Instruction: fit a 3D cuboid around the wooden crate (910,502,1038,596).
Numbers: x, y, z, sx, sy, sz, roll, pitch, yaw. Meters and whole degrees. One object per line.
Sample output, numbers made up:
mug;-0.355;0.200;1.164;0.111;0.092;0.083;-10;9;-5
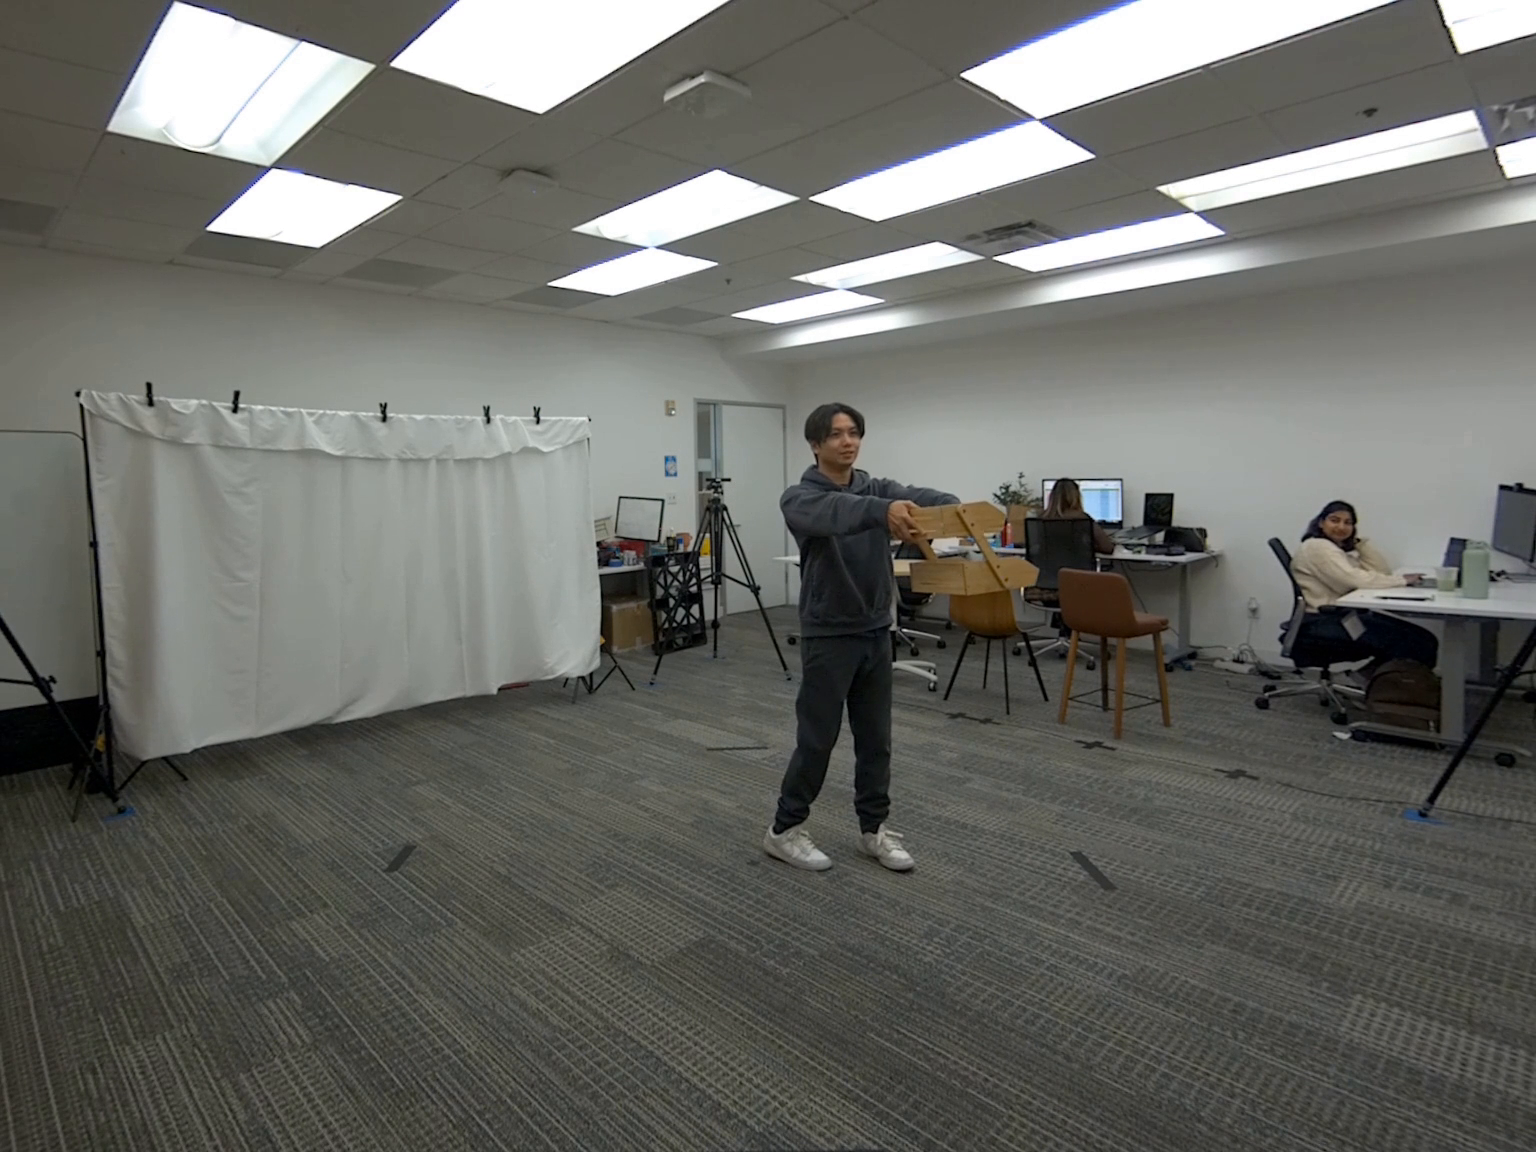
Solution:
wooden crate;0.578;-0.091;2.582;0.297;0.273;0.330;-7;2;-19
